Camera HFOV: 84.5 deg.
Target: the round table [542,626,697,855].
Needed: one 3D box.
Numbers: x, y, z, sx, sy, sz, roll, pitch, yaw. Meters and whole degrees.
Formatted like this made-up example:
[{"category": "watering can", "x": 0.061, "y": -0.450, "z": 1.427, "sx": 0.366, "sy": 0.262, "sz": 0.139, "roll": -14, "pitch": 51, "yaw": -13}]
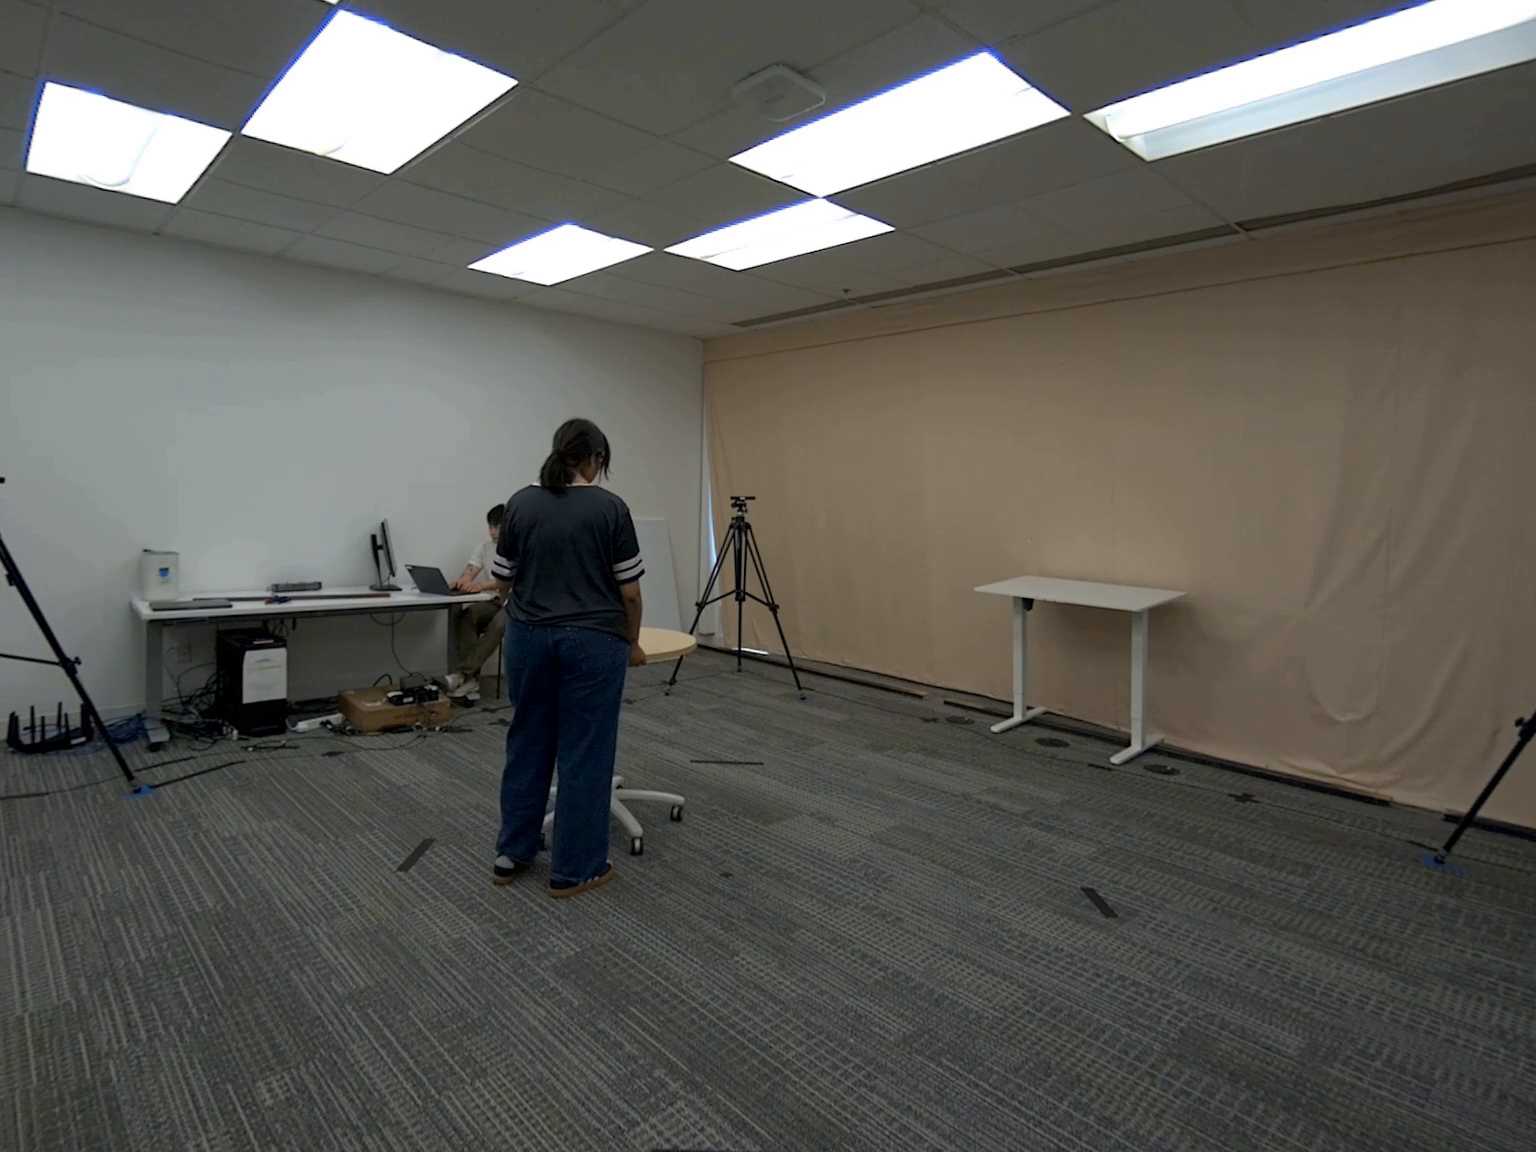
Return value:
[{"category": "round table", "x": -0.692, "y": 0.666, "z": 3.555, "sx": 0.763, "sy": 0.792, "sz": 0.766, "roll": 1, "pitch": 4, "yaw": -1}]
